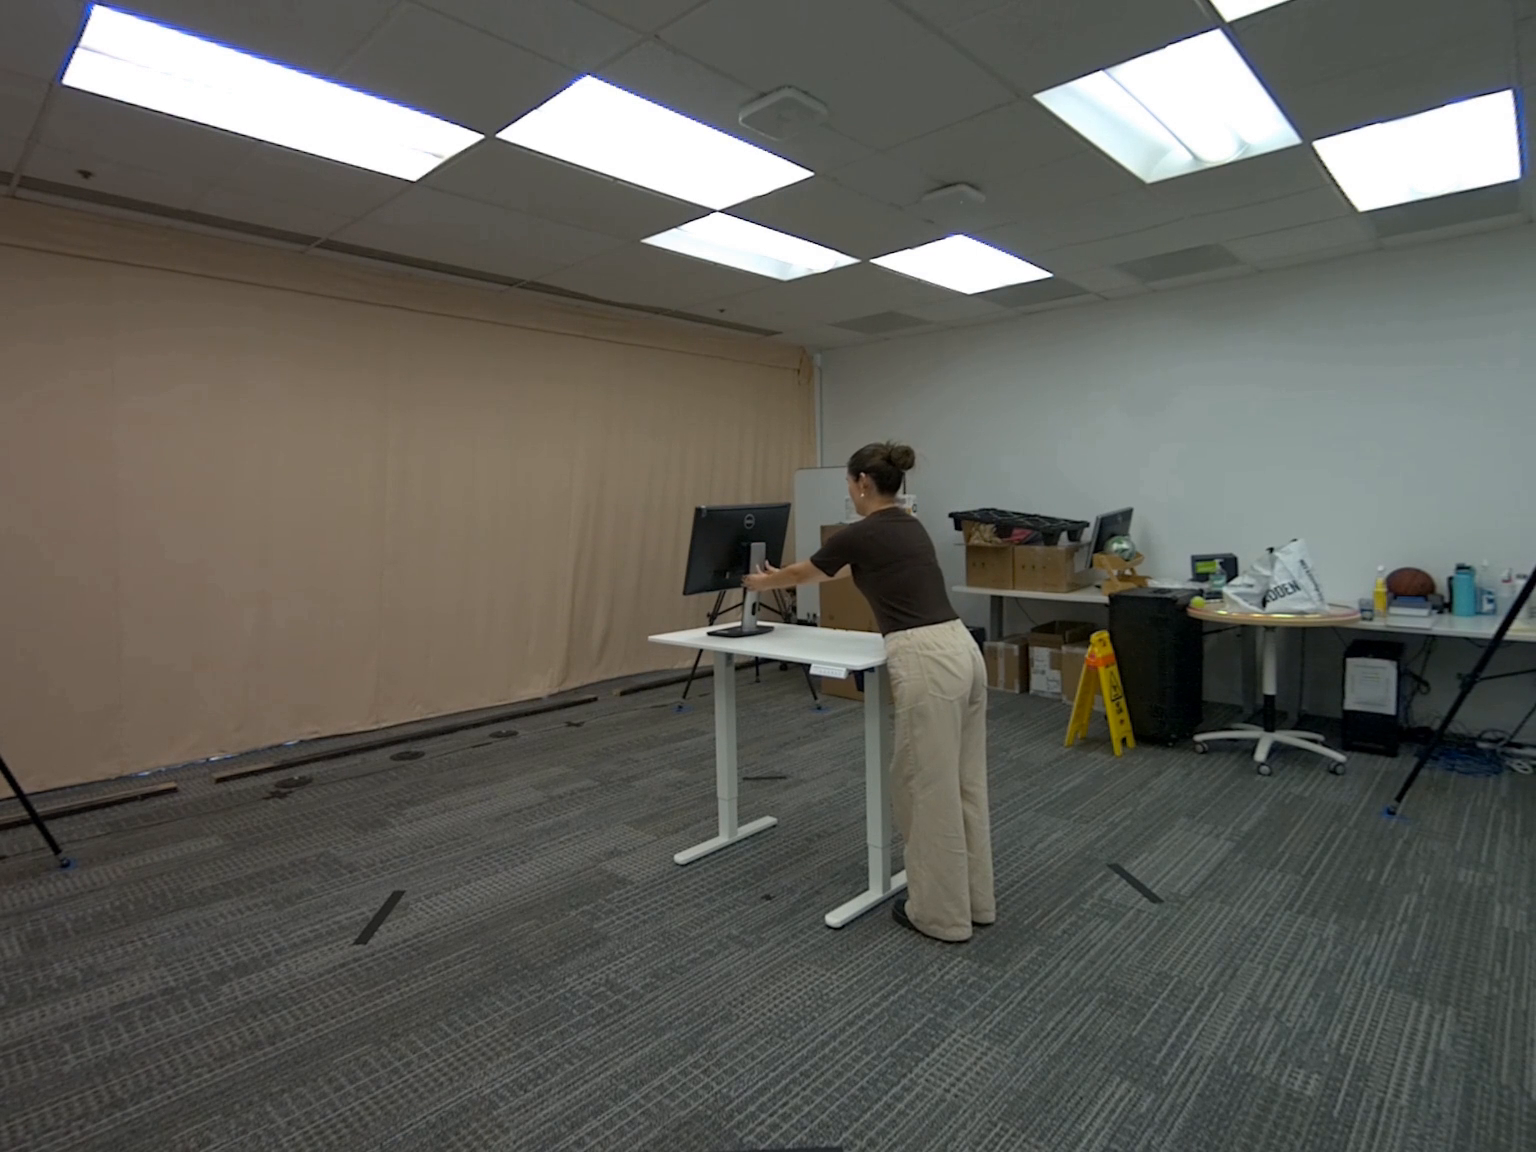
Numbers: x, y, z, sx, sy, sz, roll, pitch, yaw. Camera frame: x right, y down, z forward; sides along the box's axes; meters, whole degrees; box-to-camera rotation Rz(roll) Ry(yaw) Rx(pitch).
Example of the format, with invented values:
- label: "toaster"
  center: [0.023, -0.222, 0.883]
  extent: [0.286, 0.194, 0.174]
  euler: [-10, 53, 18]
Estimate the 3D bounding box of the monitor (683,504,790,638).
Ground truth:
- label: "monitor"
  center: [-0.095, -0.023, 3.359]
  extent: [0.193, 0.521, 0.523]
  euler: [5, 7, 42]
